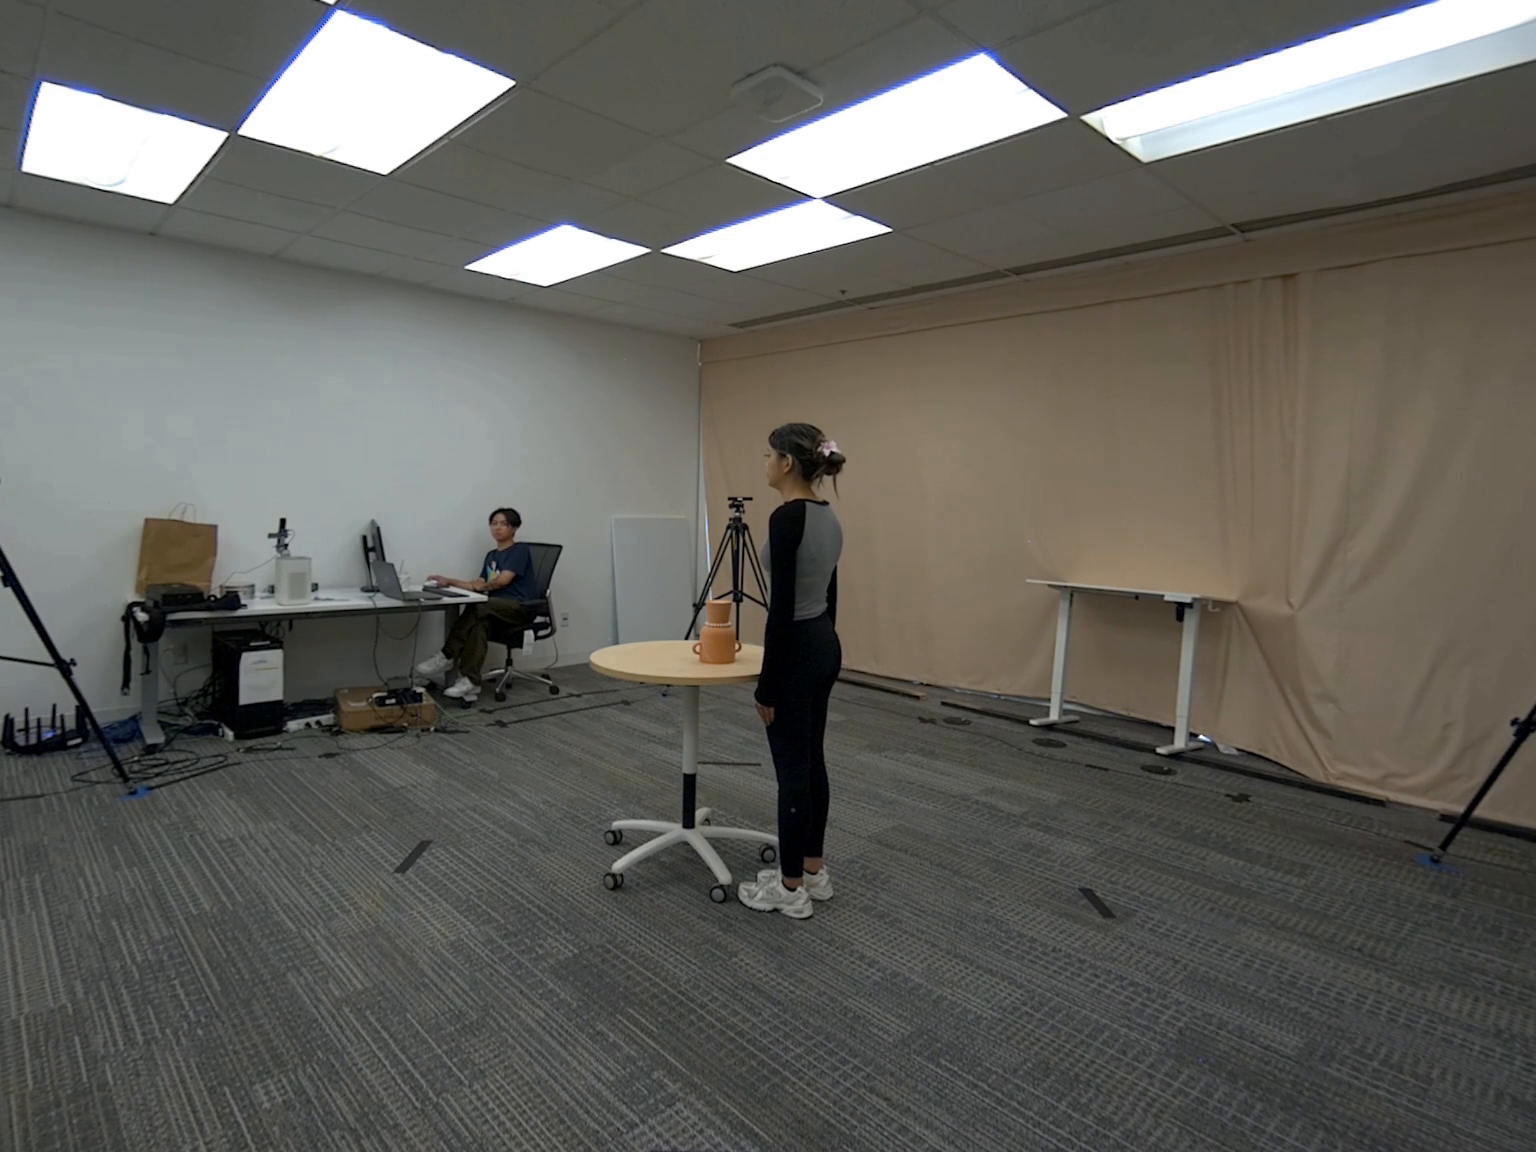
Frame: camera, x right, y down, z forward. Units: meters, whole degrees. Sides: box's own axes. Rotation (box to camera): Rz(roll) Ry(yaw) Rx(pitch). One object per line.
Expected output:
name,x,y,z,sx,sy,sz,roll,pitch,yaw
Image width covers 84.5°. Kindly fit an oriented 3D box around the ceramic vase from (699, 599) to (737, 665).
ceramic vase,-0.191,0.204,3.092,0.137,0.219,0.156,3,4,23
